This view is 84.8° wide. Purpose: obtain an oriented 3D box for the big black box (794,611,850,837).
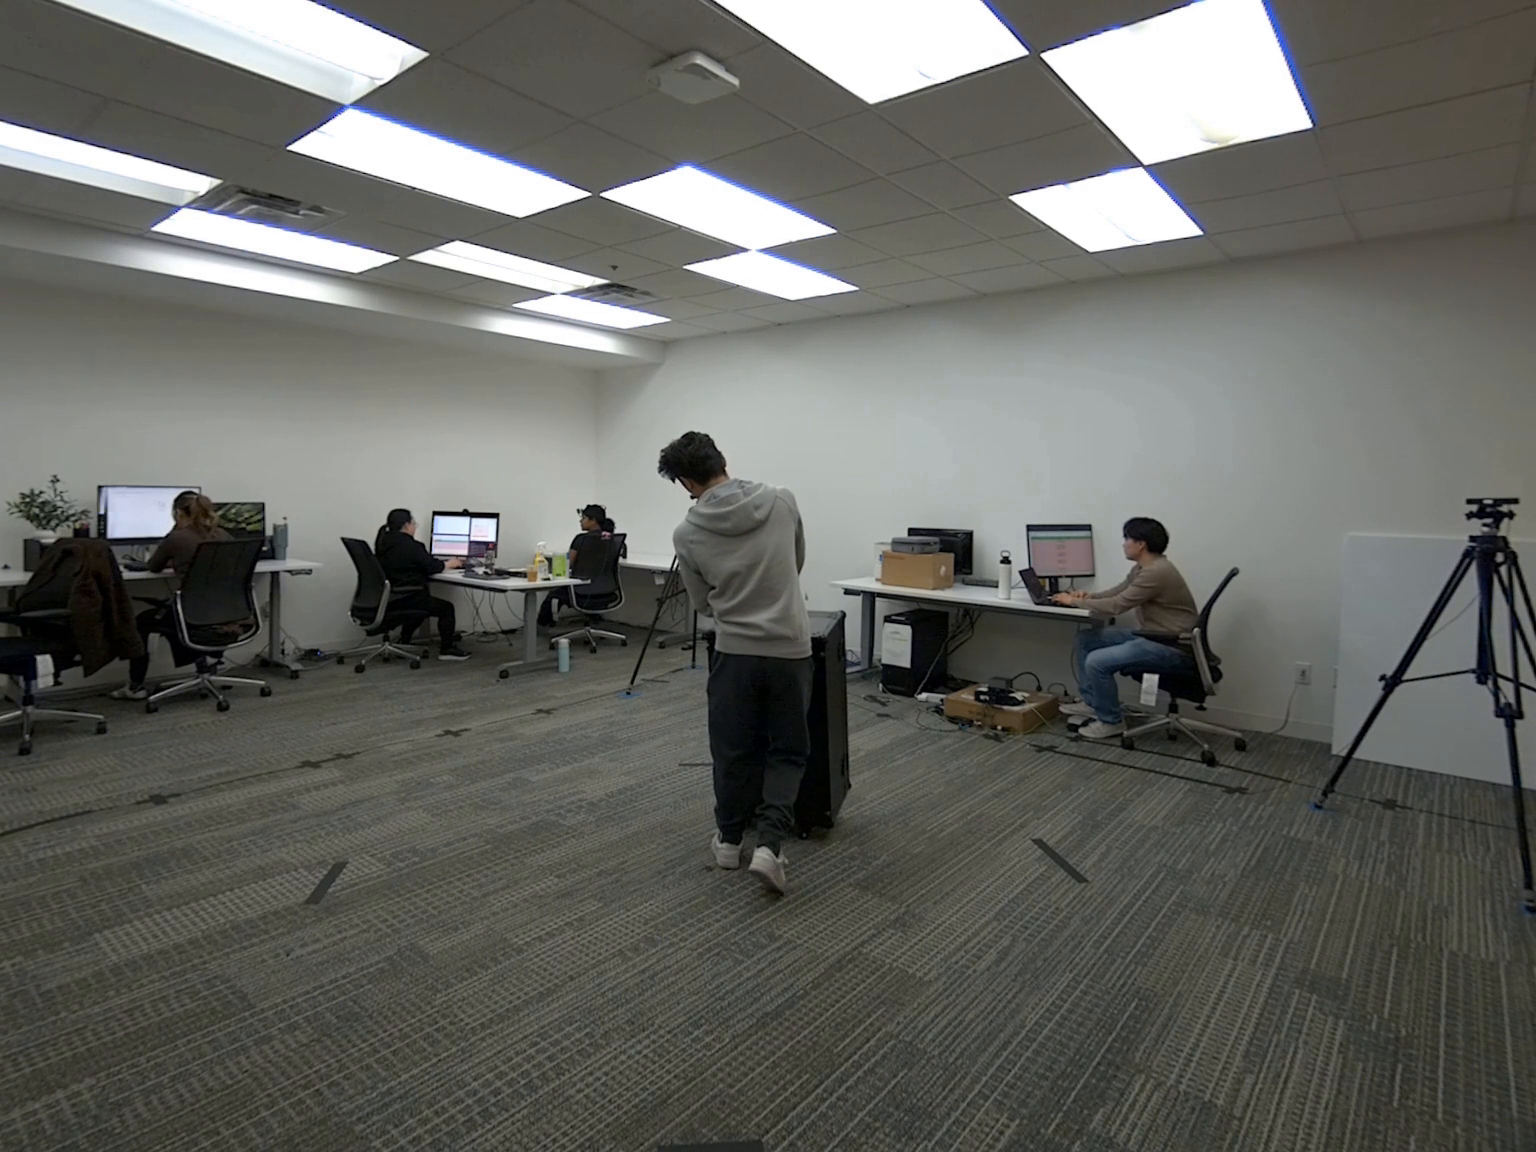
[{"bbox_3d":[0.050,0.592,3.493,0.532,0.852,0.392,1,12,20],"label":"big black box"}]
